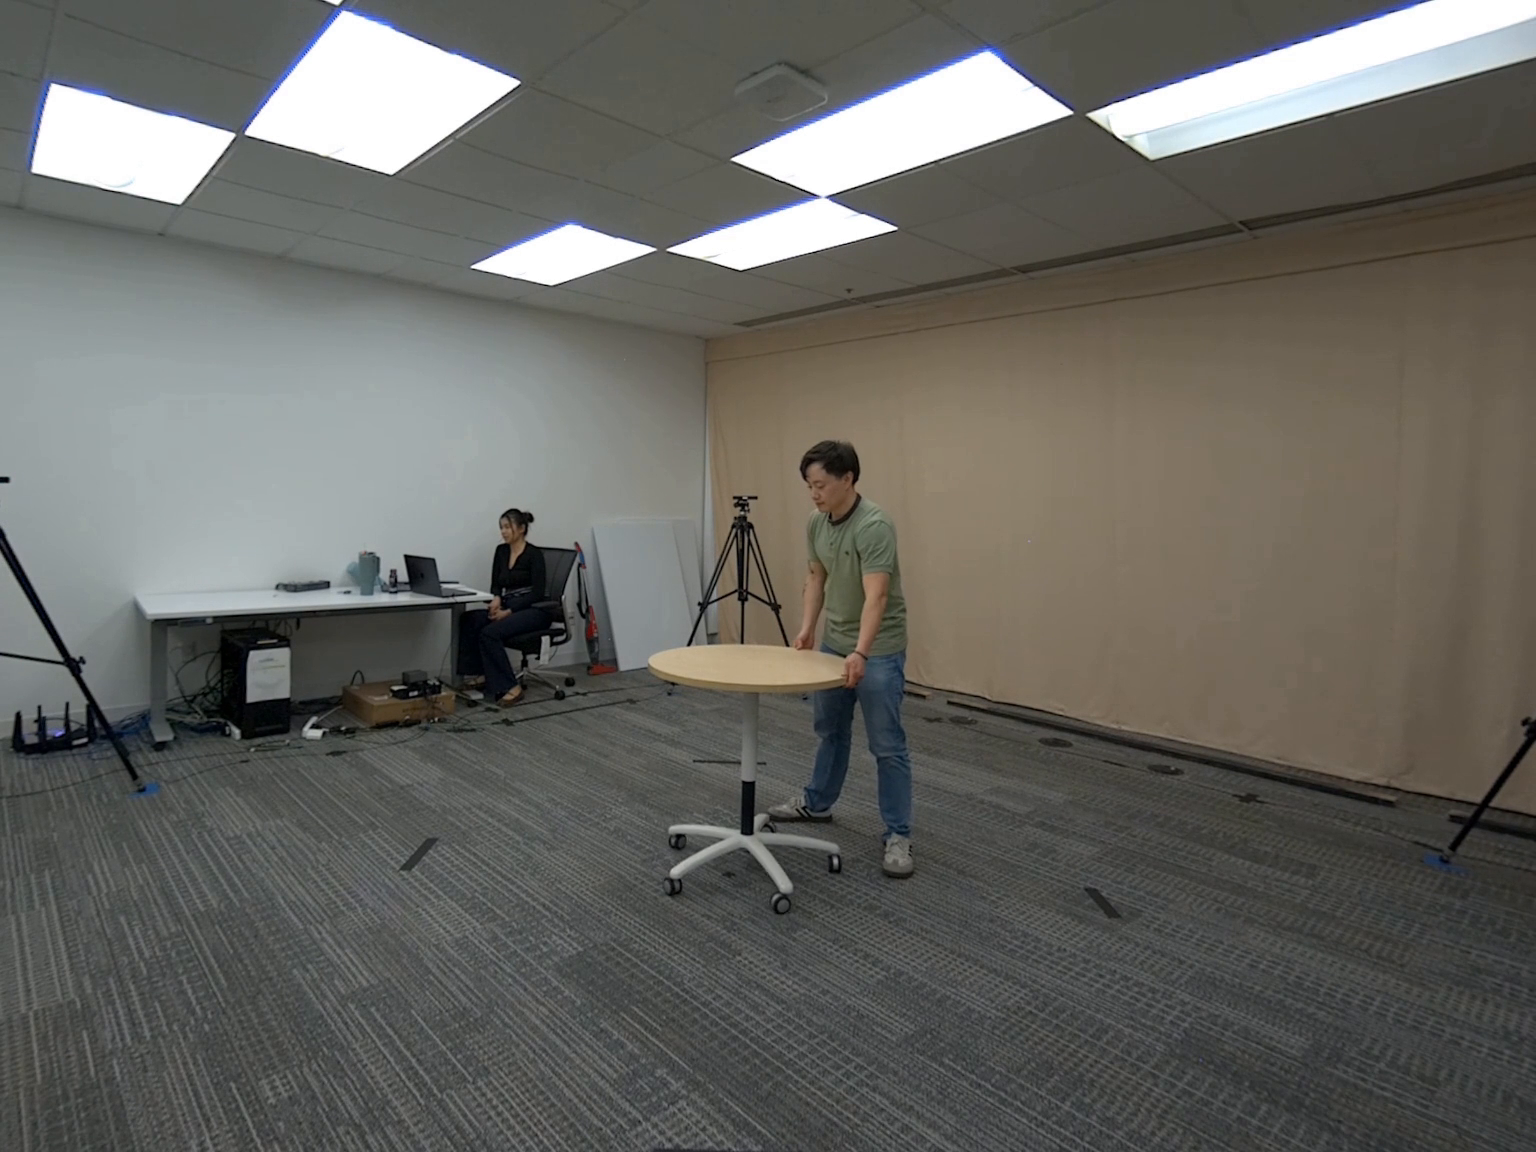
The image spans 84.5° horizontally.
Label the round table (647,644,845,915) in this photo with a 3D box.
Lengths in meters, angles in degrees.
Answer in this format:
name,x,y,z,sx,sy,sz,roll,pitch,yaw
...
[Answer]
name,x,y,z,sx,sy,sz,roll,pitch,yaw
round table,-0.074,0.713,3.124,0.763,0.792,0.766,2,4,-1
